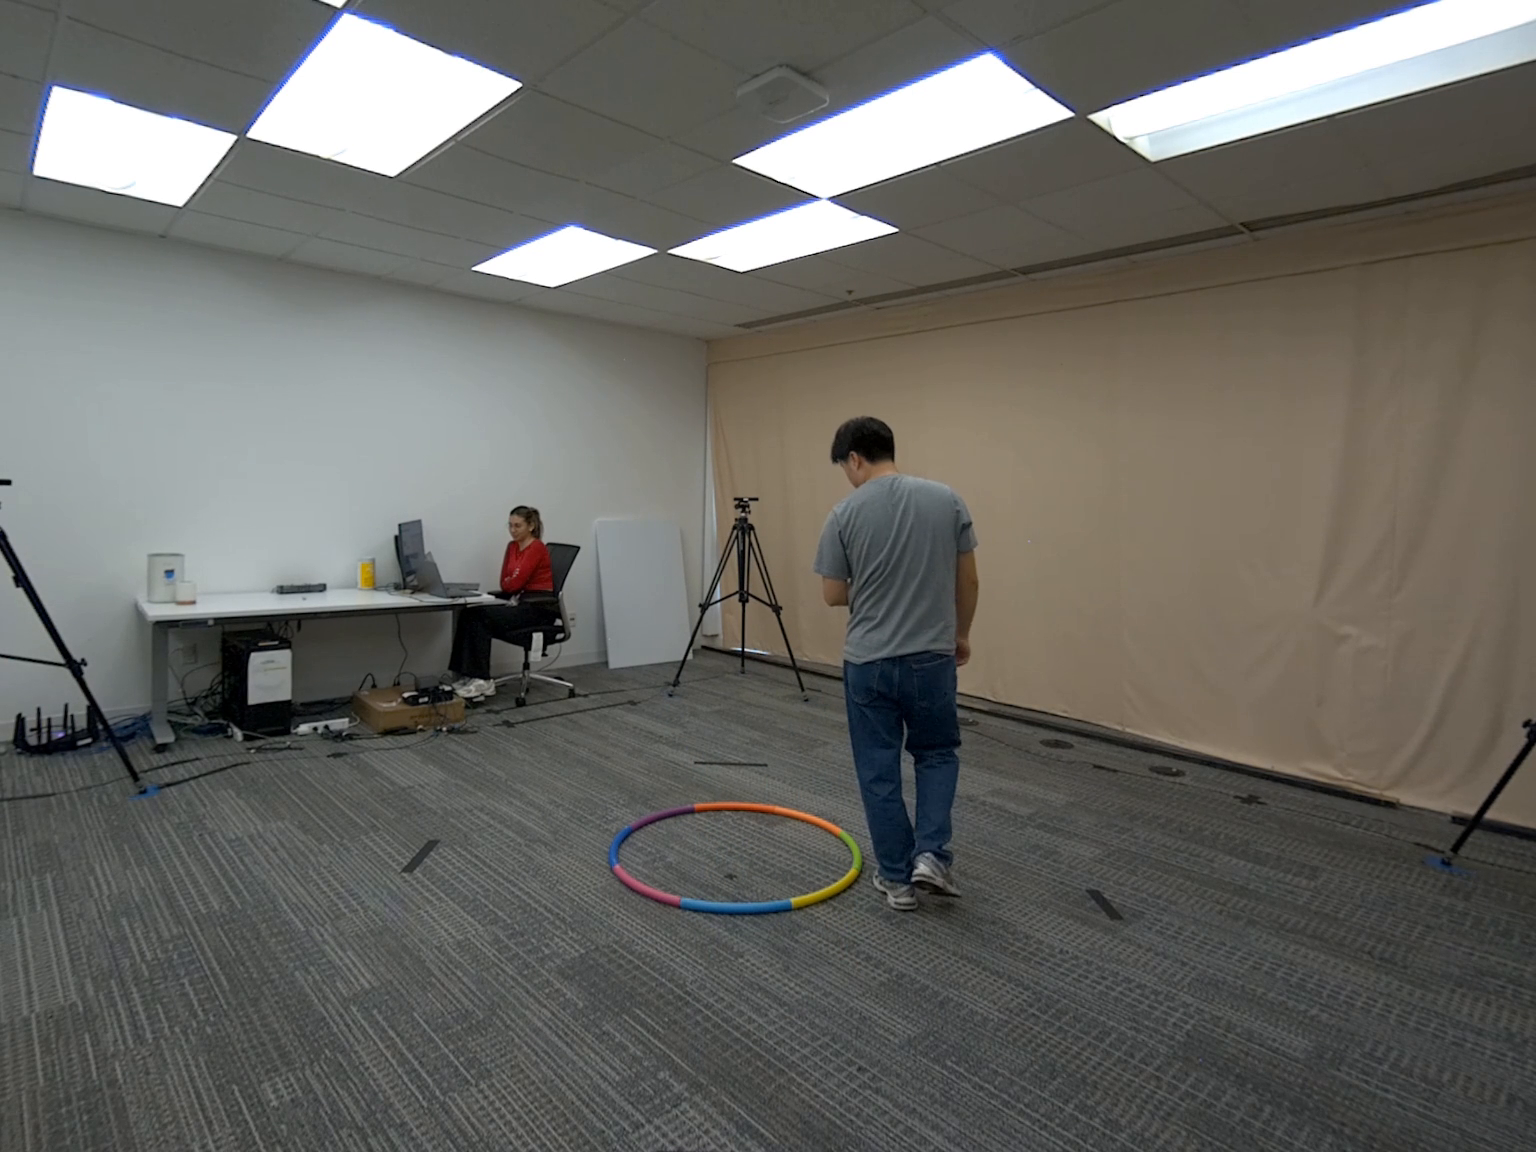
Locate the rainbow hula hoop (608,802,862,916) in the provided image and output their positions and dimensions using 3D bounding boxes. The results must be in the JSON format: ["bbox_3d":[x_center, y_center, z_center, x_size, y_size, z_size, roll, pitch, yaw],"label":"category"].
[{"bbox_3d":[-0.137,1.055,3.302,0.978,0.035,0.982,1,5,-1],"label":"rainbow hula hoop"}]
